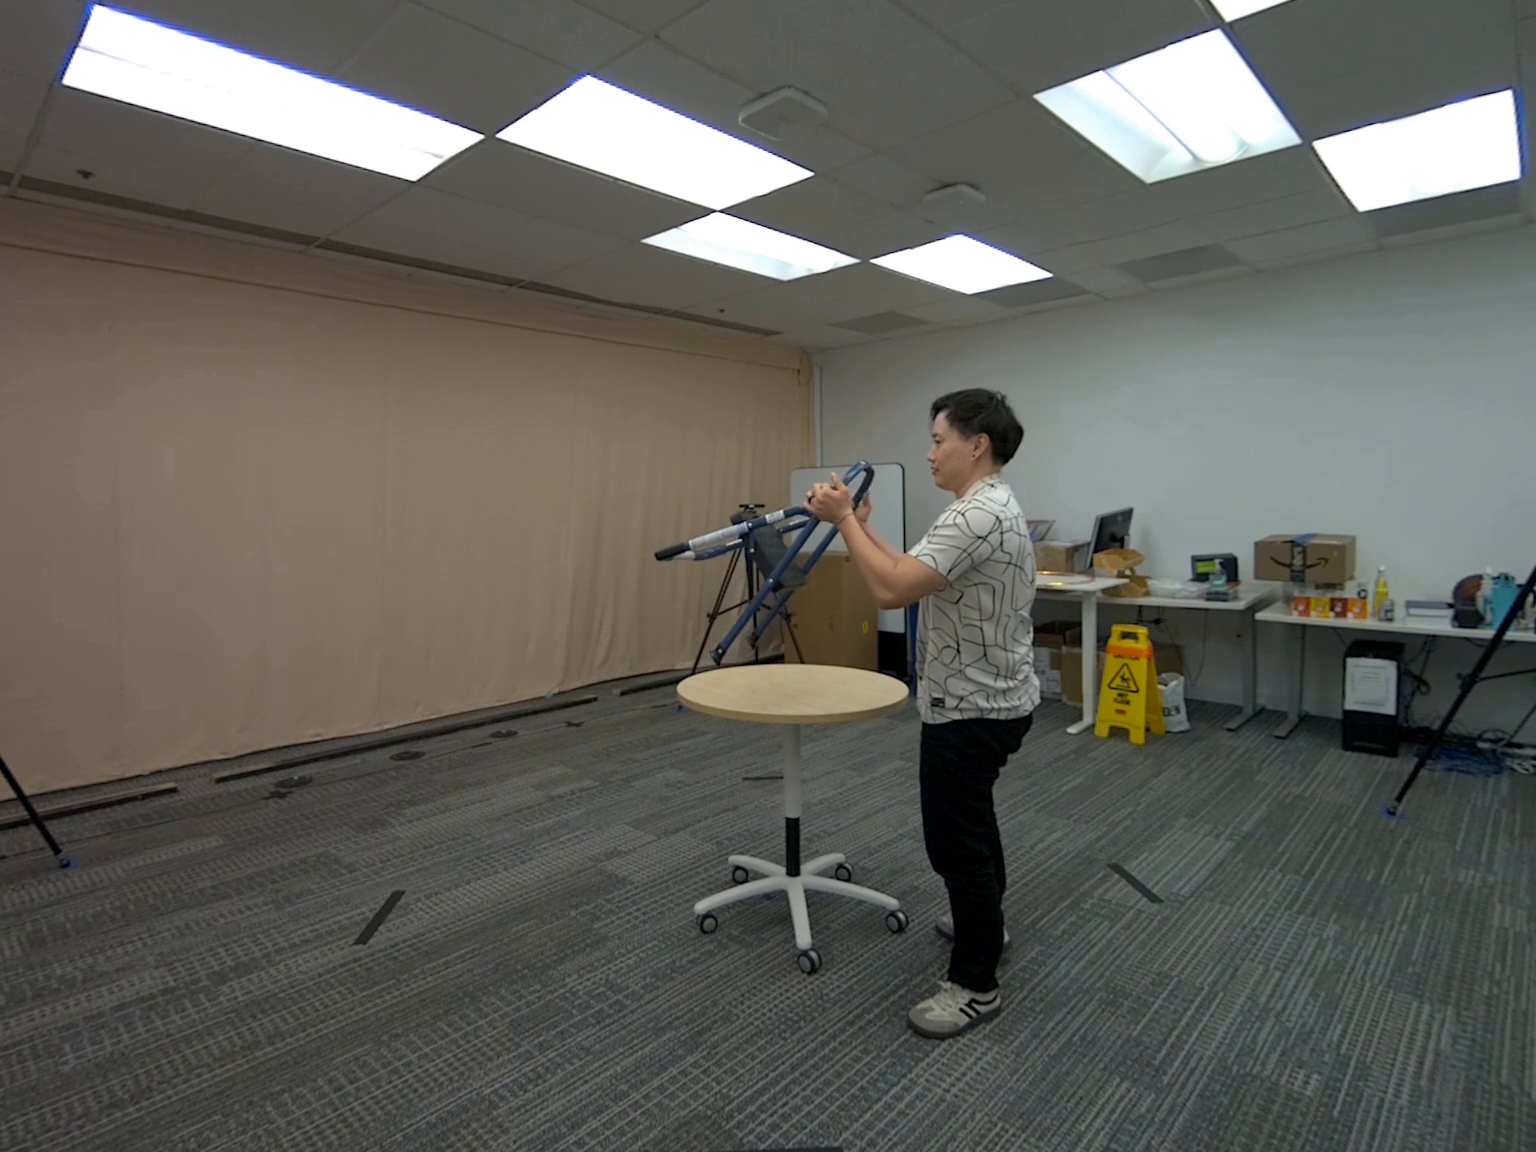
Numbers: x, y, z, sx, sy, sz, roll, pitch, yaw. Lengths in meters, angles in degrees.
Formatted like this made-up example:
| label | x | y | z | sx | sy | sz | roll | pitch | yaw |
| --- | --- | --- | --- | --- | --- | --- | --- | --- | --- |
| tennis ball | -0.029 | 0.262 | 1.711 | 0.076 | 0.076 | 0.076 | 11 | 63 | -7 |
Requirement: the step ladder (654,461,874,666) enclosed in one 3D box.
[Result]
| label | x | y | z | sx | sy | sz | roll | pitch | yaw |
| --- | --- | --- | --- | --- | --- | --- | --- | --- | --- |
| step ladder | 0.073 | -0.079 | 2.375 | 0.610 | 0.352 | 0.424 | -33 | -7 | 12 |
